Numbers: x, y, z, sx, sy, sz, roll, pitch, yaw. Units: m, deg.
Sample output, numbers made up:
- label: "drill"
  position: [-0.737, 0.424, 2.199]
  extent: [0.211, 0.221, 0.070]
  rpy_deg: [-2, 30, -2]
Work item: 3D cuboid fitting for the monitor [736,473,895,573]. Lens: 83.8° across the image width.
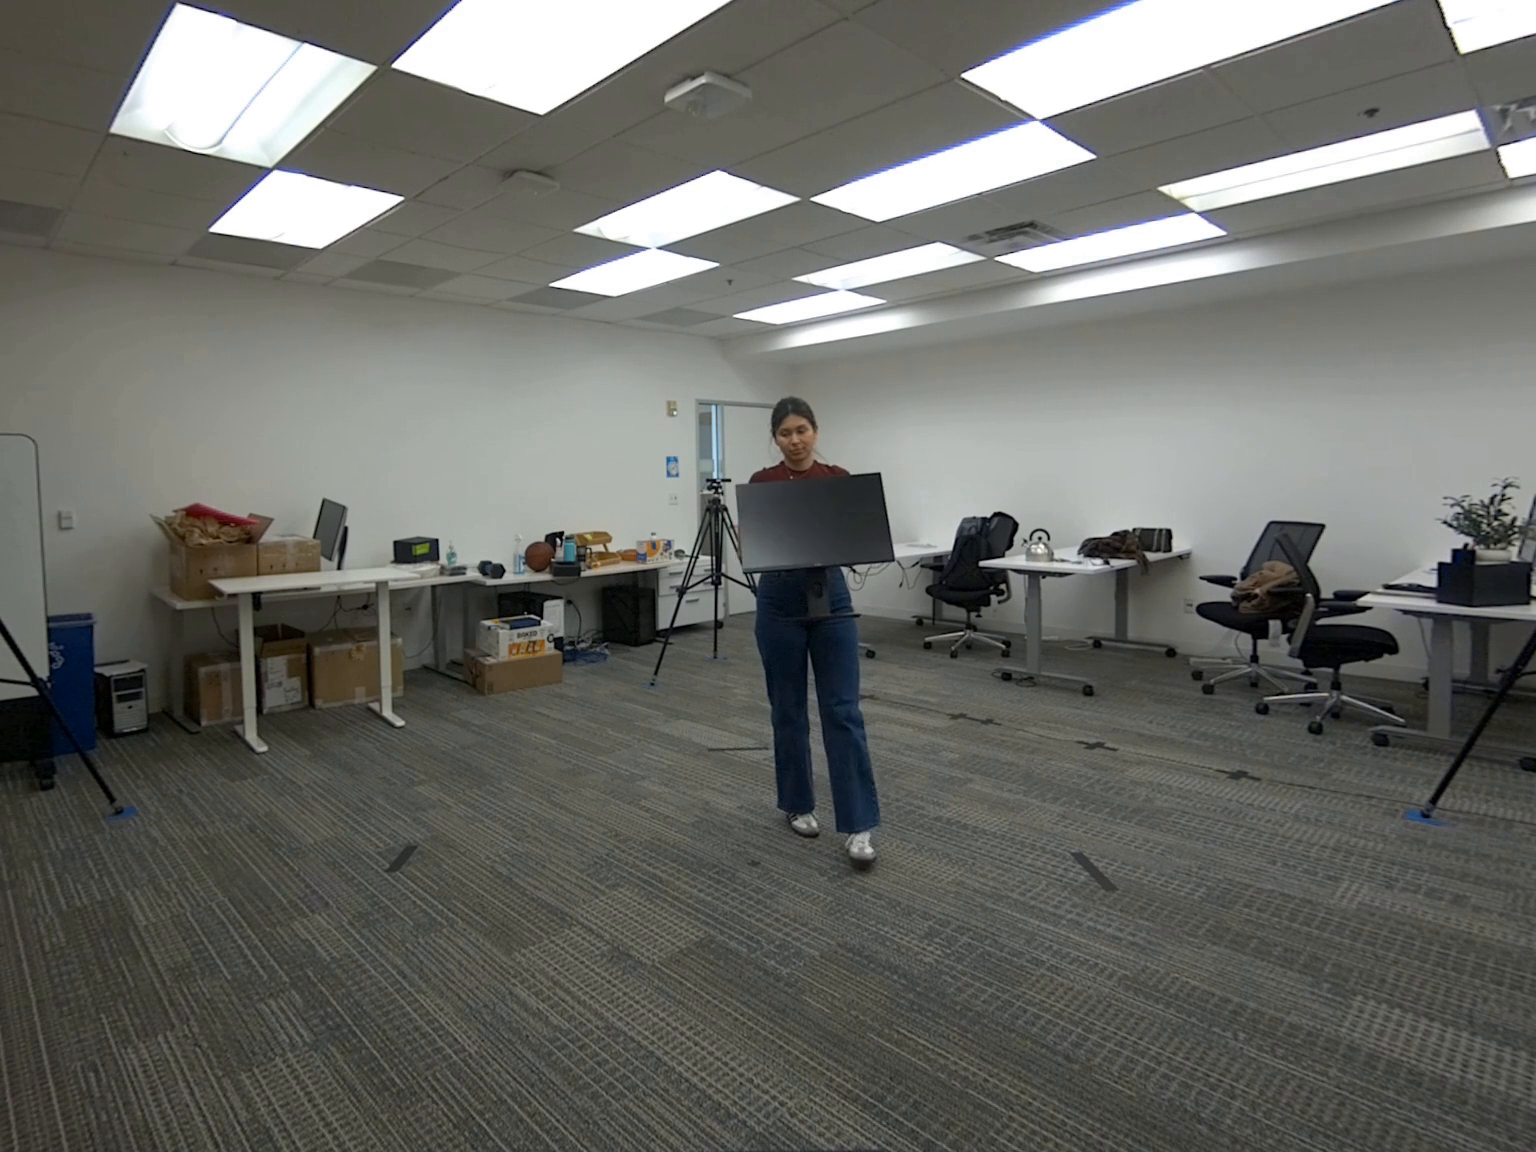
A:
- label: "monitor"
  position: [0.165, -0.091, 3.077]
  extent: [0.539, 0.527, 0.185]
  rpy_deg: [-5, -8, -1]
